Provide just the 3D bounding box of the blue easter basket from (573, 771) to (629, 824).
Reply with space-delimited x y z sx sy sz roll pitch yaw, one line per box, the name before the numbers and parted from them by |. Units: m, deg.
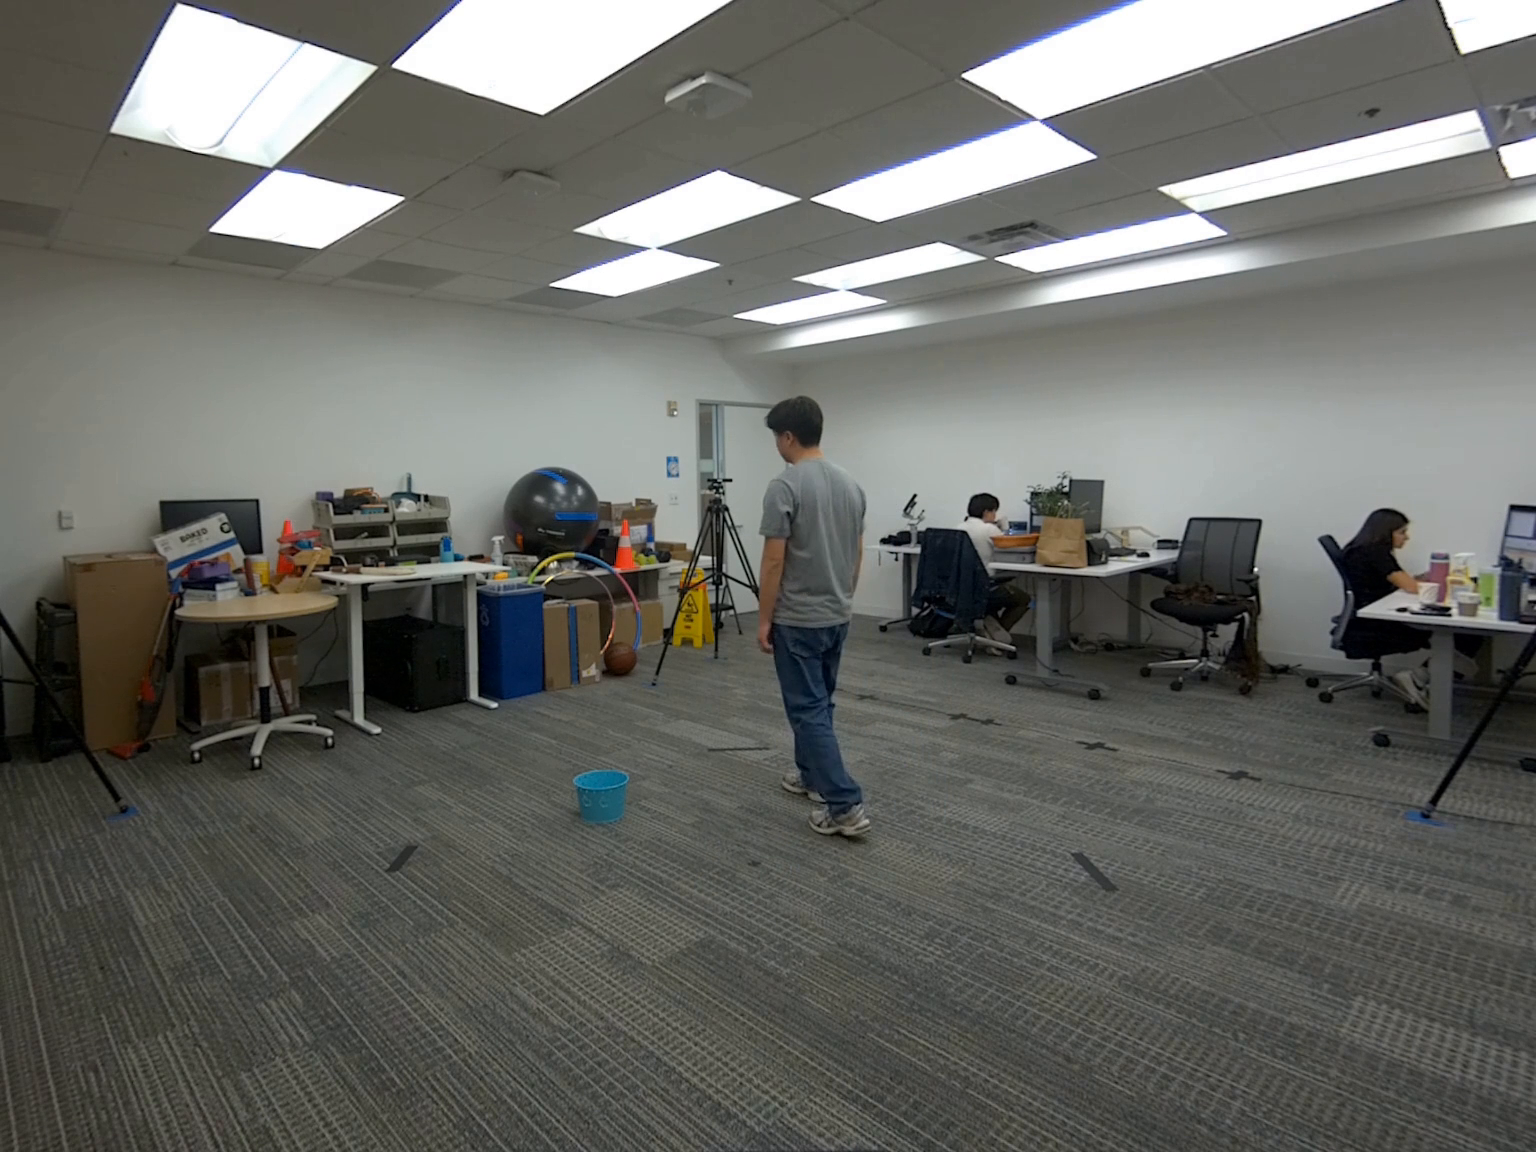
blue easter basket | -0.693 0.922 3.591 0.243 0.155 0.245 -1 6 -2
